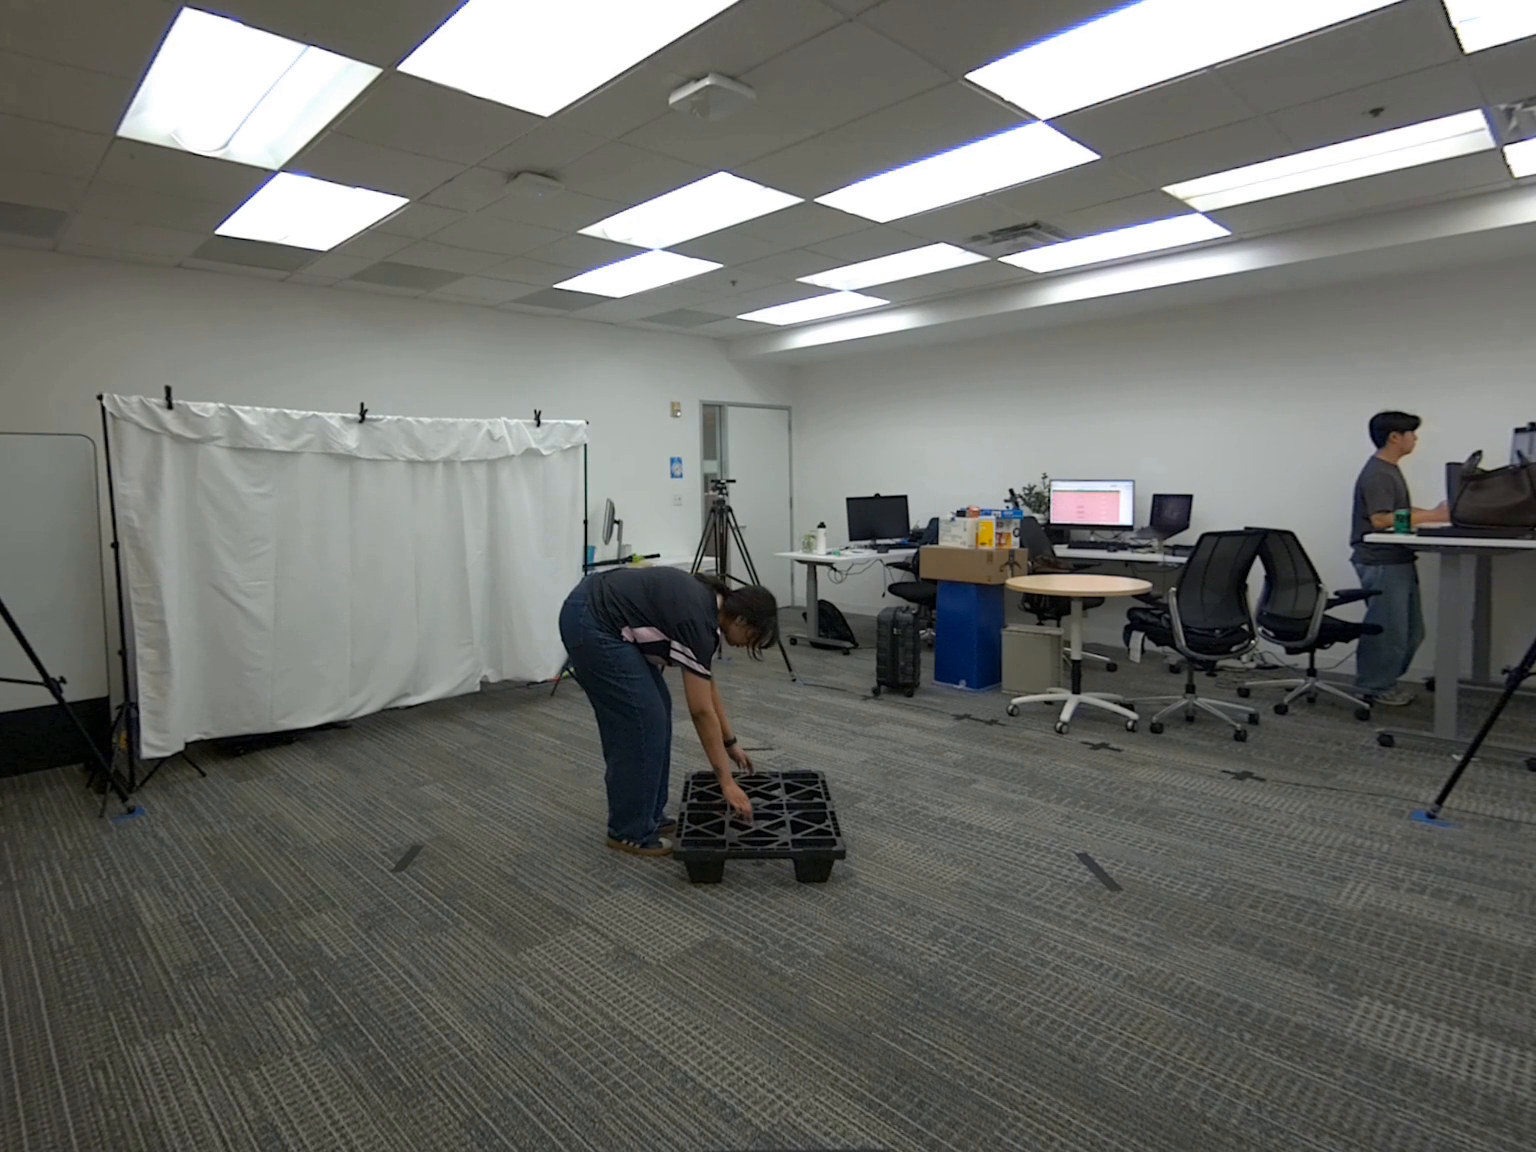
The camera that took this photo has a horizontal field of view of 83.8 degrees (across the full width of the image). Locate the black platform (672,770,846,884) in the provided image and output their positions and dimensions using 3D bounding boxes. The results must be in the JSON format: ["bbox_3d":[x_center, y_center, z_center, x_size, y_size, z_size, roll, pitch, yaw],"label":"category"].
[{"bbox_3d":[-0.038,0.953,3.317,0.605,0.142,0.809,0,6,-1],"label":"black platform"}]
